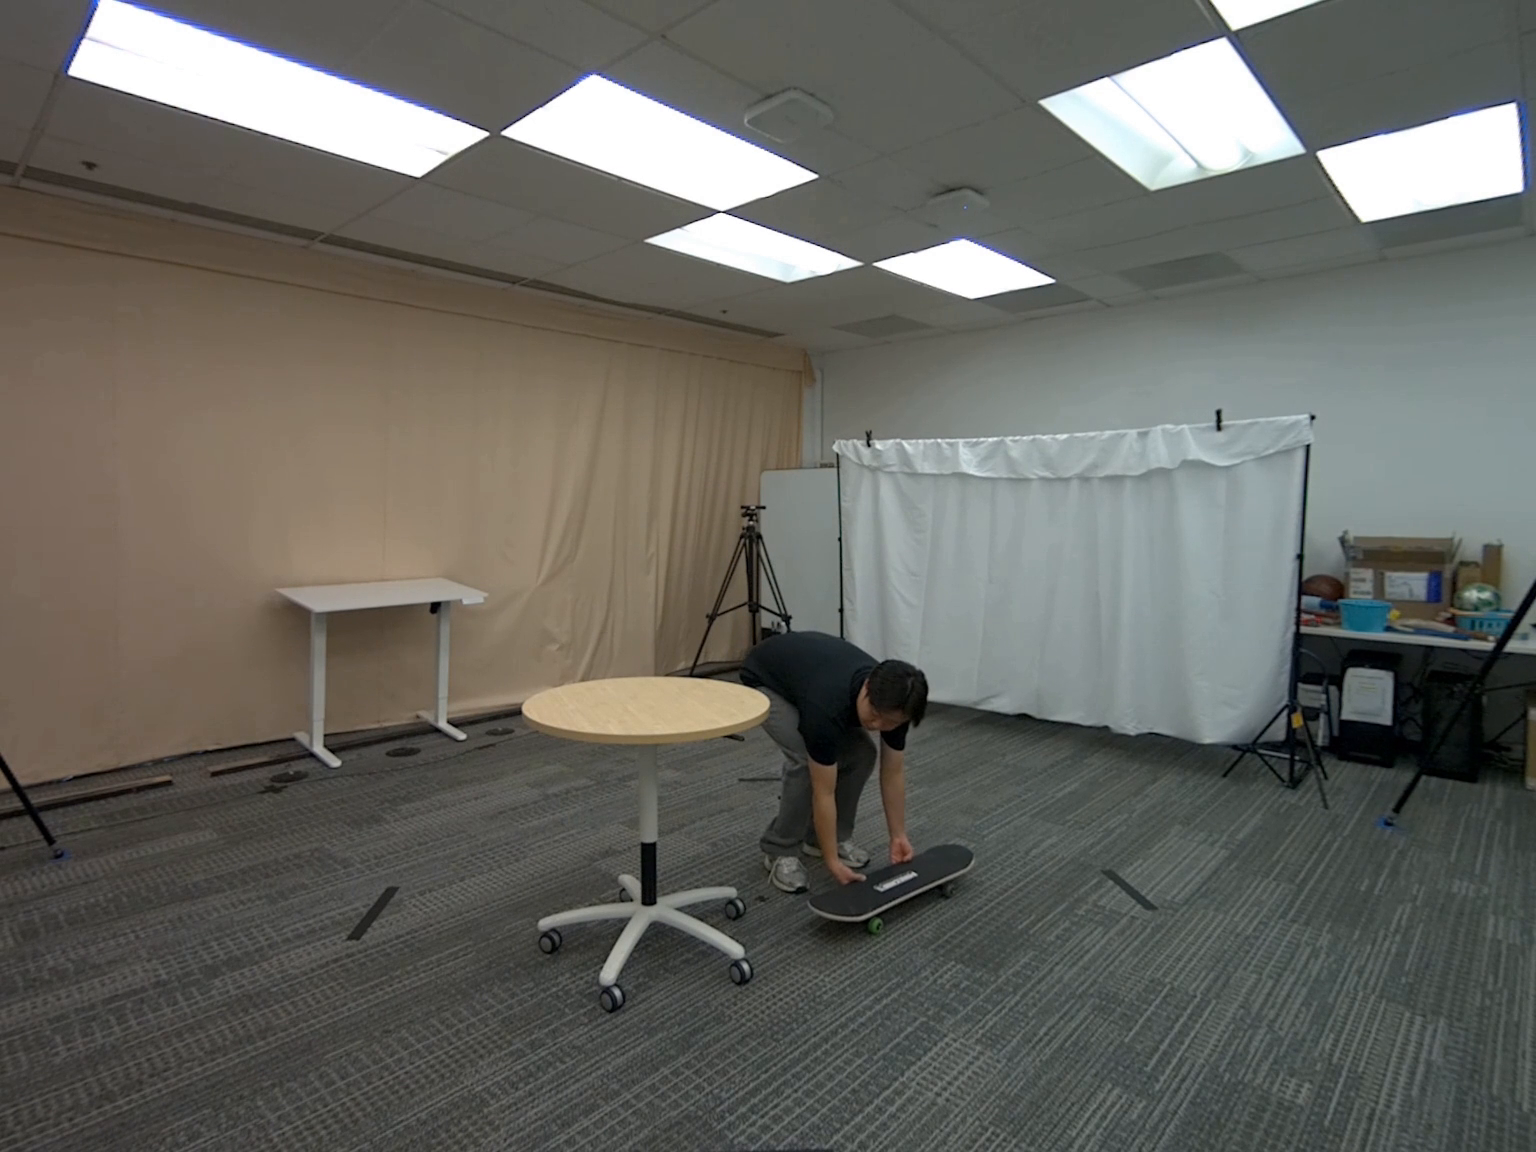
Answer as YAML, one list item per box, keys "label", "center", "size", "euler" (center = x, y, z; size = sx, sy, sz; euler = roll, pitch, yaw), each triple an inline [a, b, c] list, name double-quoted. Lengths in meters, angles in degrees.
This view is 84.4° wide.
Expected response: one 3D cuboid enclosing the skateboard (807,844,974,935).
- label: "skateboard"
  center: [0.450, 1.086, 2.925]
  size: [0.762, 0.110, 0.200]
  euler: [-5, 7, -41]
